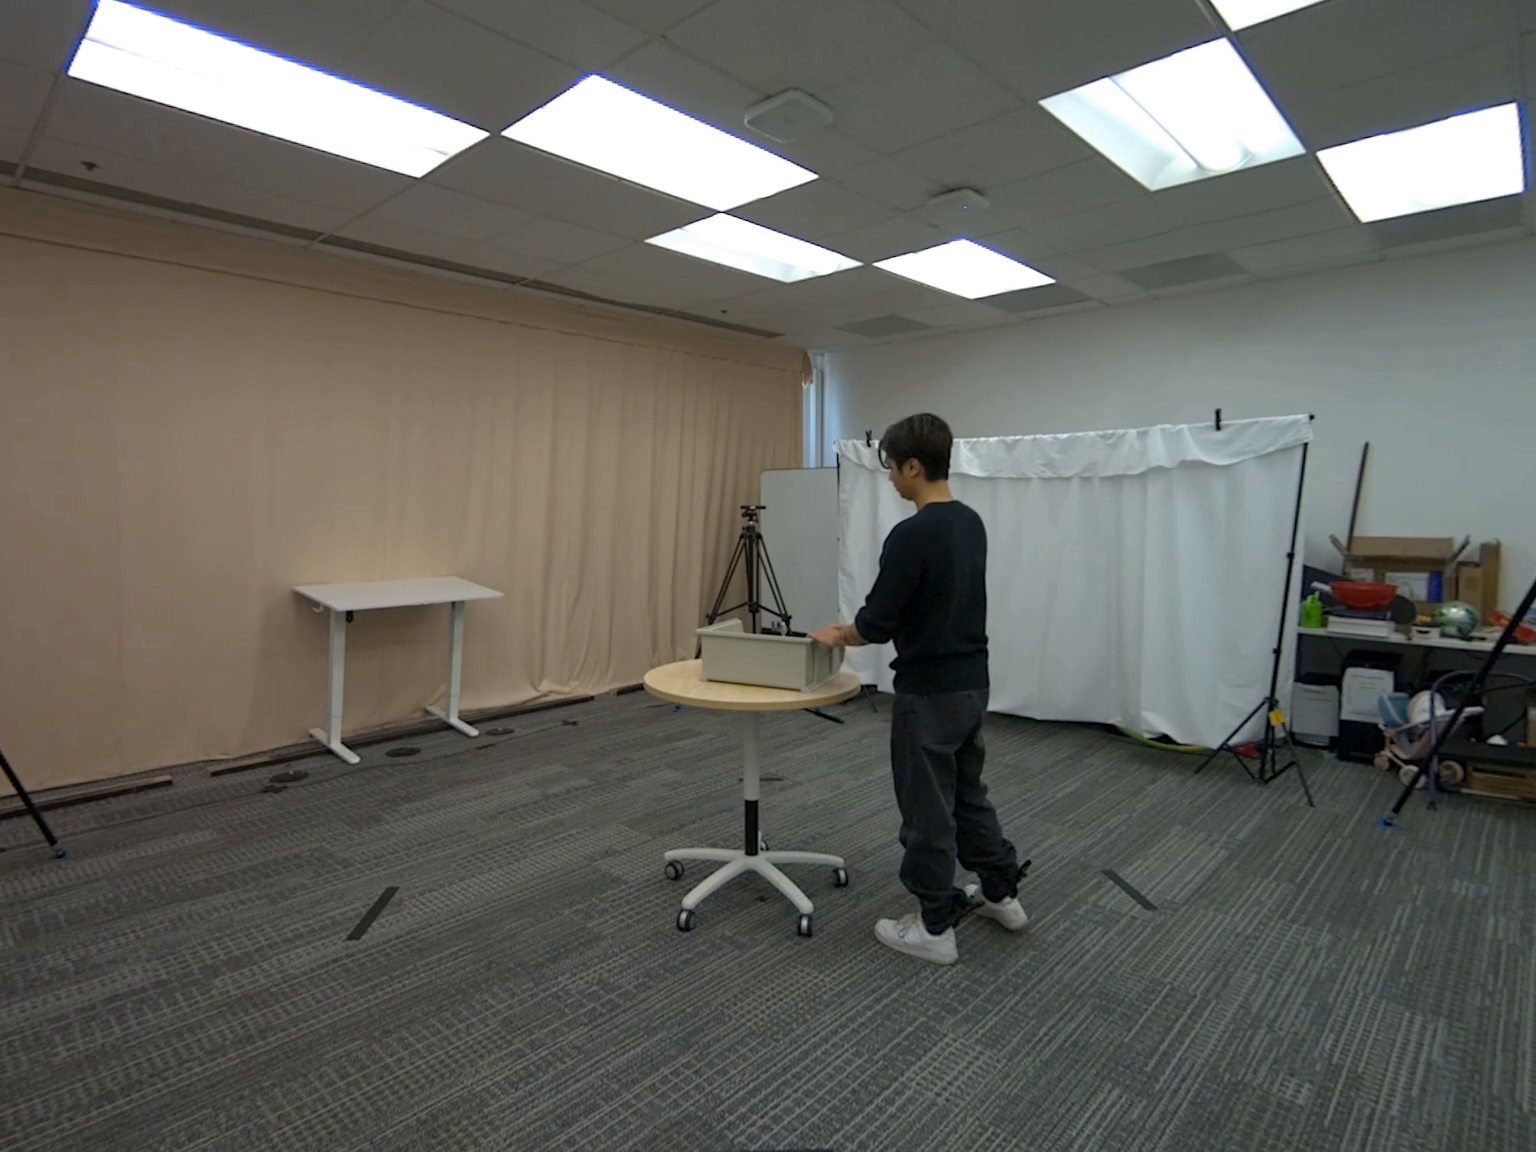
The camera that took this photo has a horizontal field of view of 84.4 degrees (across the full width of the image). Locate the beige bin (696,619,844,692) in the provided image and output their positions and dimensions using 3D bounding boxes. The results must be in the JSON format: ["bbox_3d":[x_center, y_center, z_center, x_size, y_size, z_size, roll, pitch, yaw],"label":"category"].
[{"bbox_3d":[0.021,0.270,2.983,0.433,0.188,0.369,2,7,24],"label":"beige bin"}]
